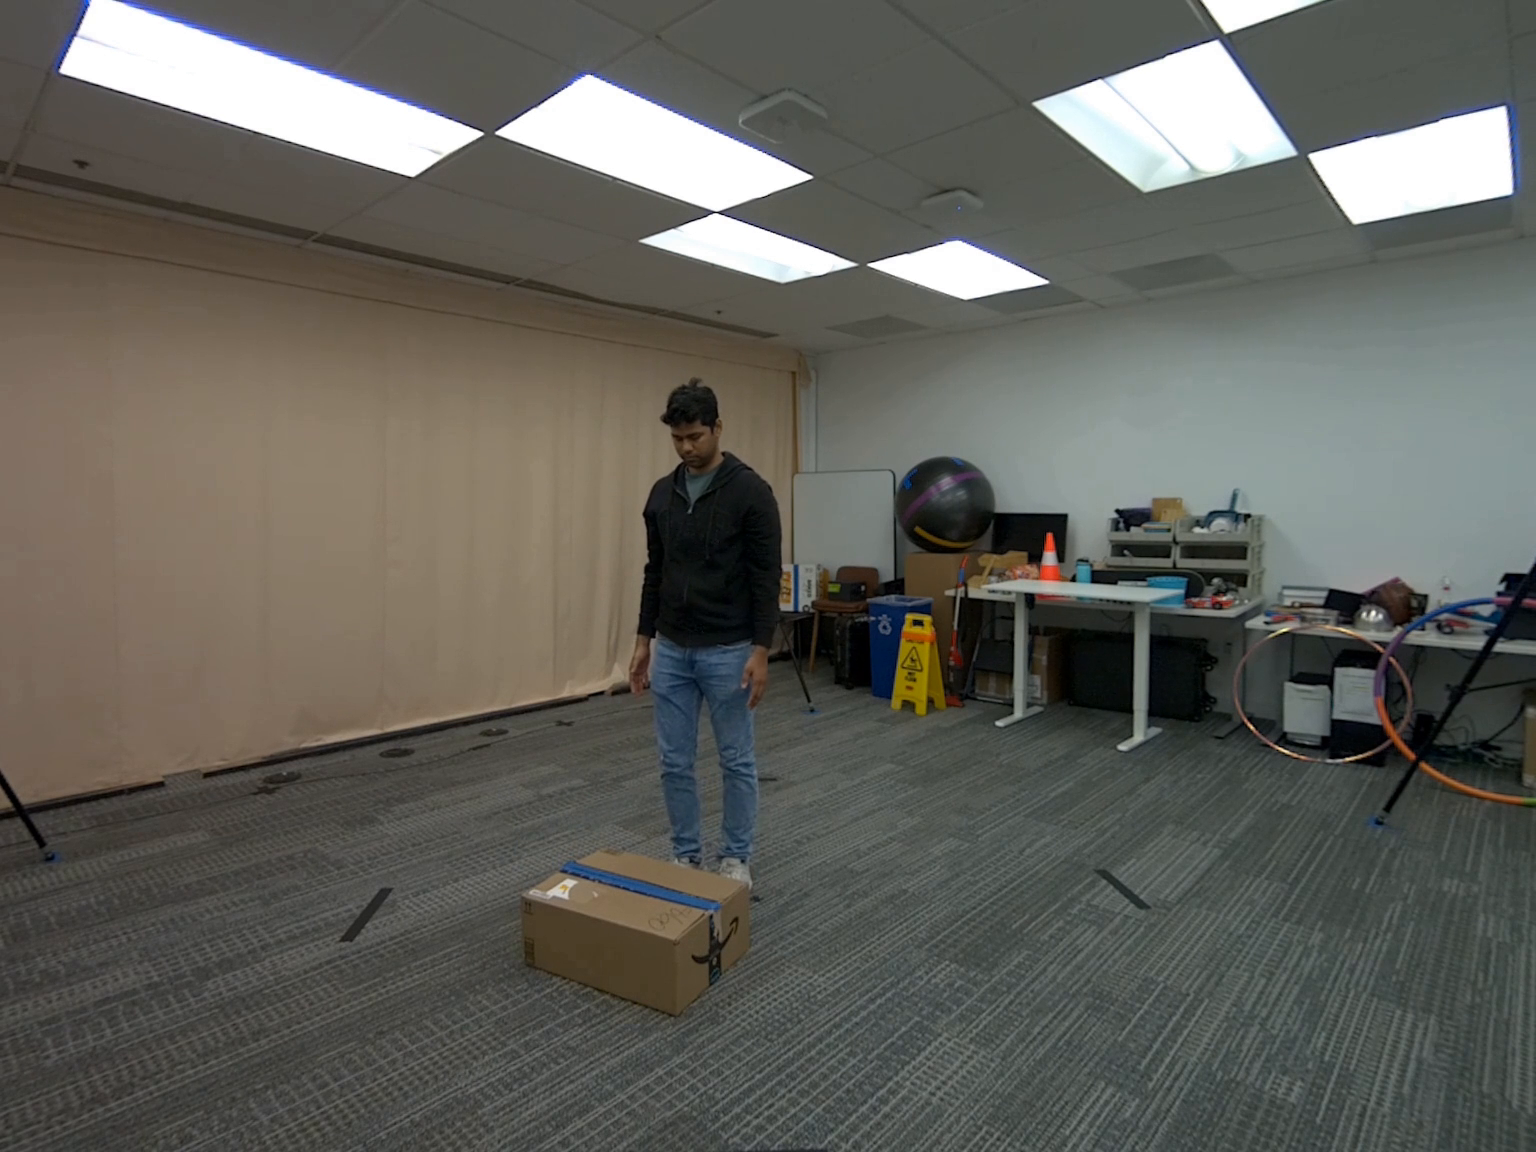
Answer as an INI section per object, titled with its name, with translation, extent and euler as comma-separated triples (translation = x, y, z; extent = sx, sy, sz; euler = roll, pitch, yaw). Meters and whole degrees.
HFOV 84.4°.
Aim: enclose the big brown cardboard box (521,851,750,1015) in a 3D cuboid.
[big brown cardboard box]
translation = -0.409, 1.066, 2.605
extent = 0.605, 0.232, 0.407
euler = 3, 5, 28
